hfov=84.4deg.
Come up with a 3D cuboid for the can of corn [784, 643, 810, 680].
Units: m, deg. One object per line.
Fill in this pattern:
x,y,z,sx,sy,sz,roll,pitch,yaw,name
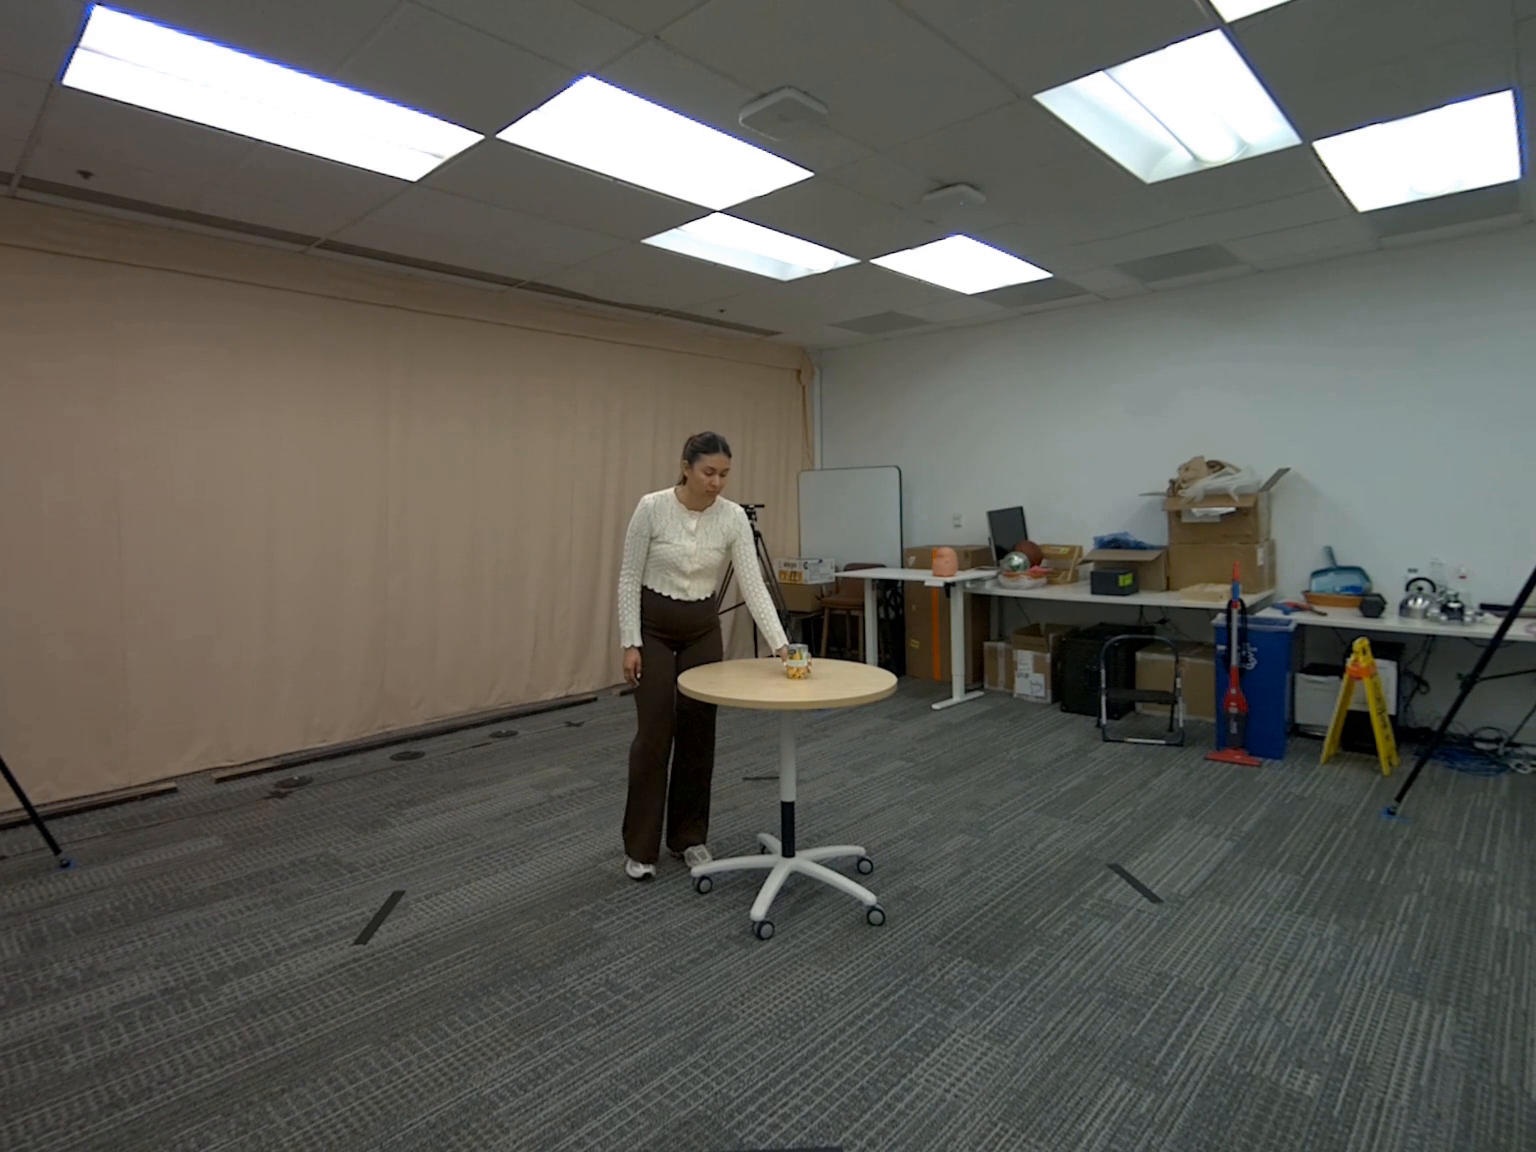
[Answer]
0.102,0.299,2.943,0.074,0.111,0.074,-2,2,-2,can of corn
